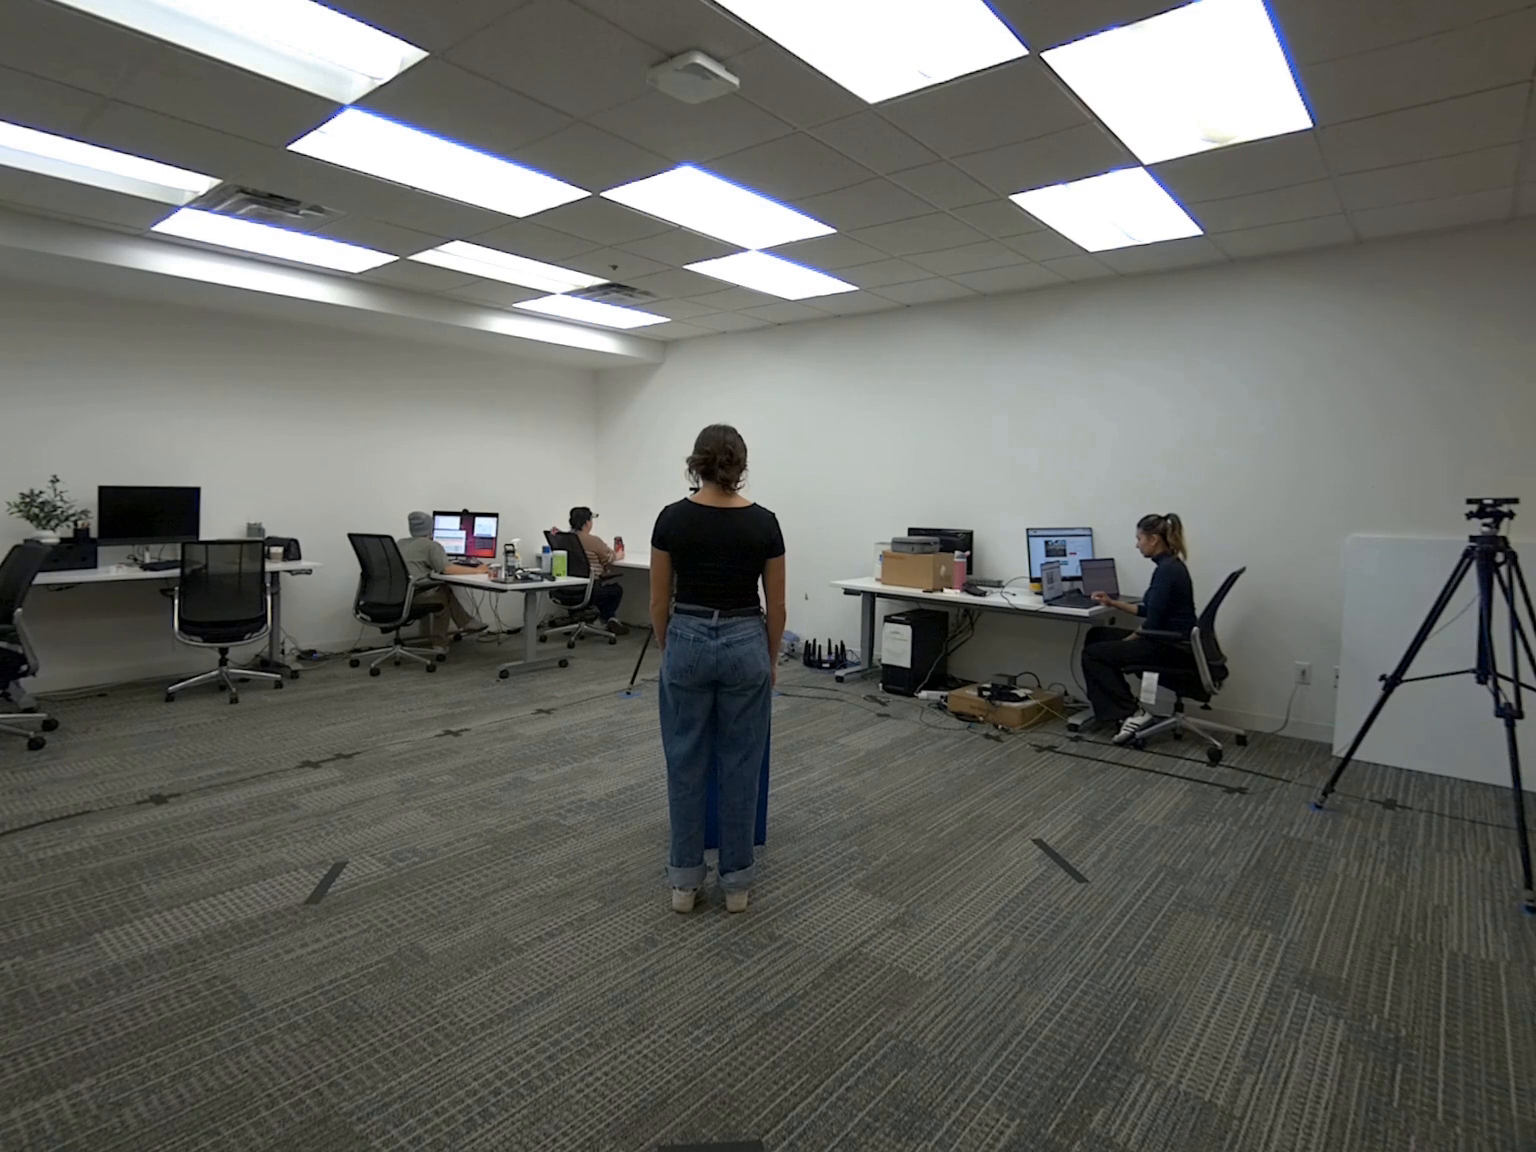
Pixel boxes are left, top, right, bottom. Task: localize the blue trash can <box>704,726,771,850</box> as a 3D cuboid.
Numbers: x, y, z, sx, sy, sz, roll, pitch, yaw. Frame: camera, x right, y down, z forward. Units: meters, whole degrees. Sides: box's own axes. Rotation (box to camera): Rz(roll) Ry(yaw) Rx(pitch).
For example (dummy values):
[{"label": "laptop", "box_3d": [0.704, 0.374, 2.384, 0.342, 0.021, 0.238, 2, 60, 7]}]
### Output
[{"label": "blue trash can", "box_3d": [-0.193, 0.677, 3.418, 0.369, 0.712, 0.384, 1, 3, -14]}]
